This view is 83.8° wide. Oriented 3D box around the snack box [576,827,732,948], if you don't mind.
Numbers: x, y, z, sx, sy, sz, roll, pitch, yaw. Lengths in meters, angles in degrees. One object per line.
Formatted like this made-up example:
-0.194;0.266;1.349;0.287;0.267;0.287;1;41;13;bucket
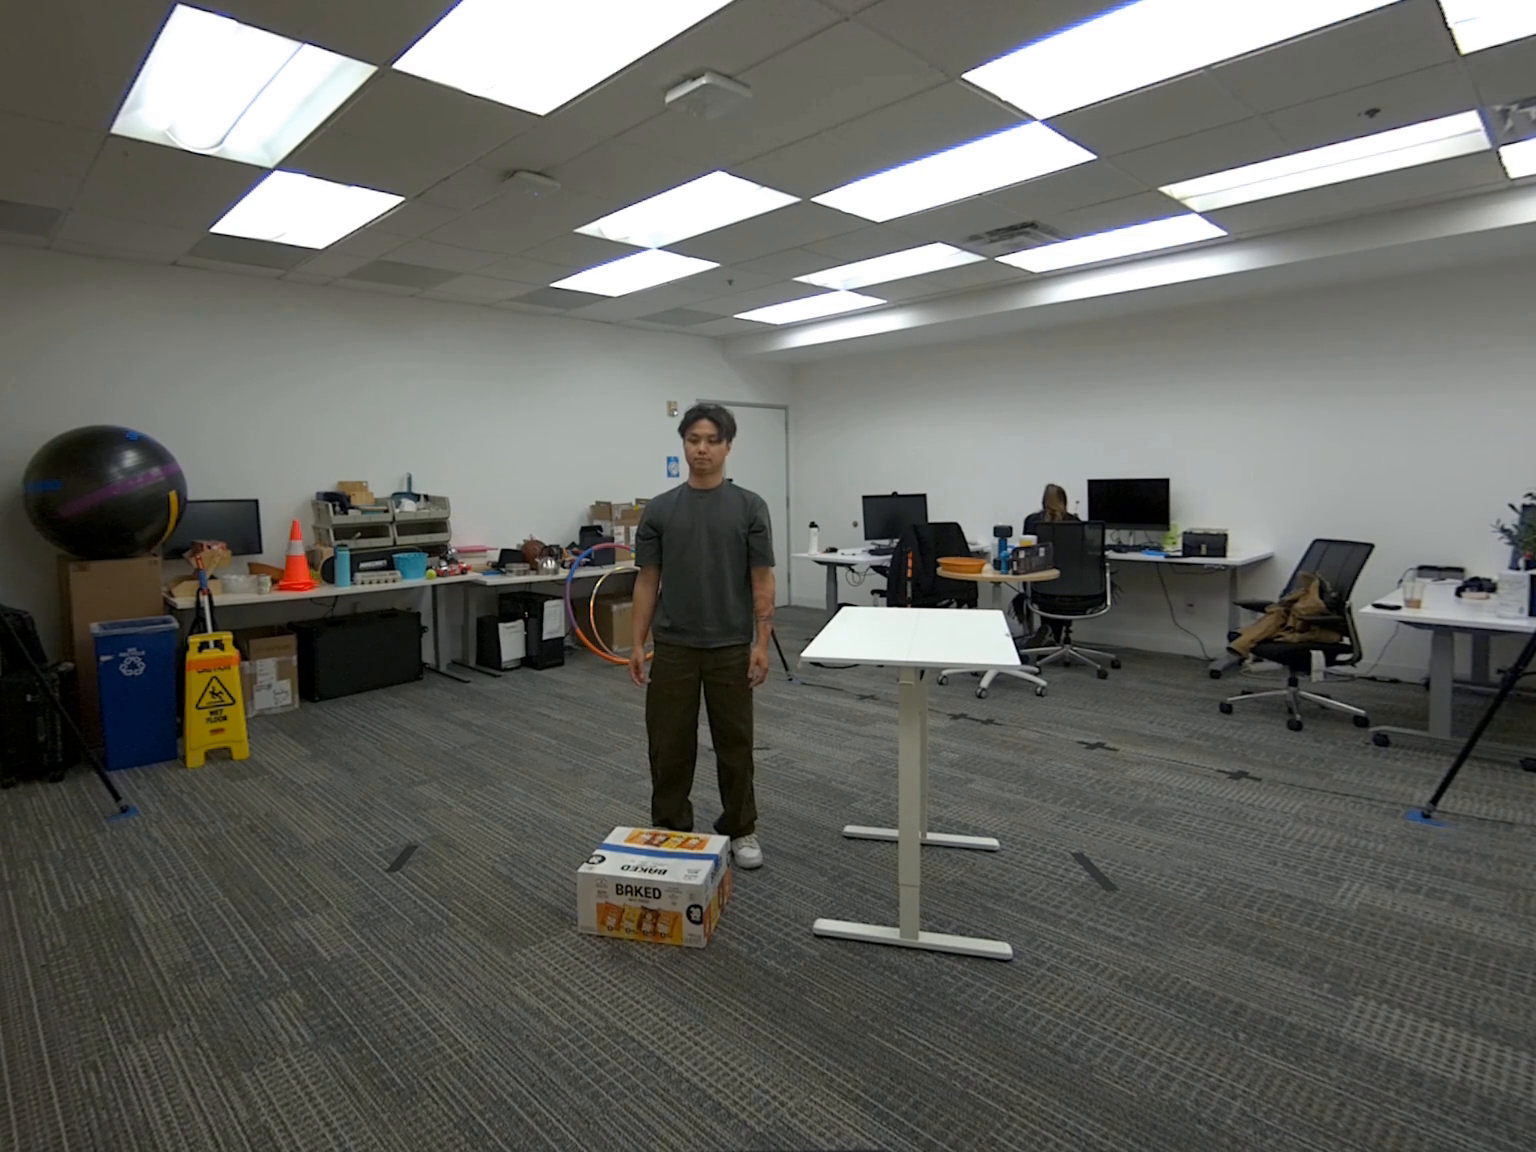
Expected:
-0.363;0.986;2.747;0.410;0.205;0.338;1;6;12;snack box
